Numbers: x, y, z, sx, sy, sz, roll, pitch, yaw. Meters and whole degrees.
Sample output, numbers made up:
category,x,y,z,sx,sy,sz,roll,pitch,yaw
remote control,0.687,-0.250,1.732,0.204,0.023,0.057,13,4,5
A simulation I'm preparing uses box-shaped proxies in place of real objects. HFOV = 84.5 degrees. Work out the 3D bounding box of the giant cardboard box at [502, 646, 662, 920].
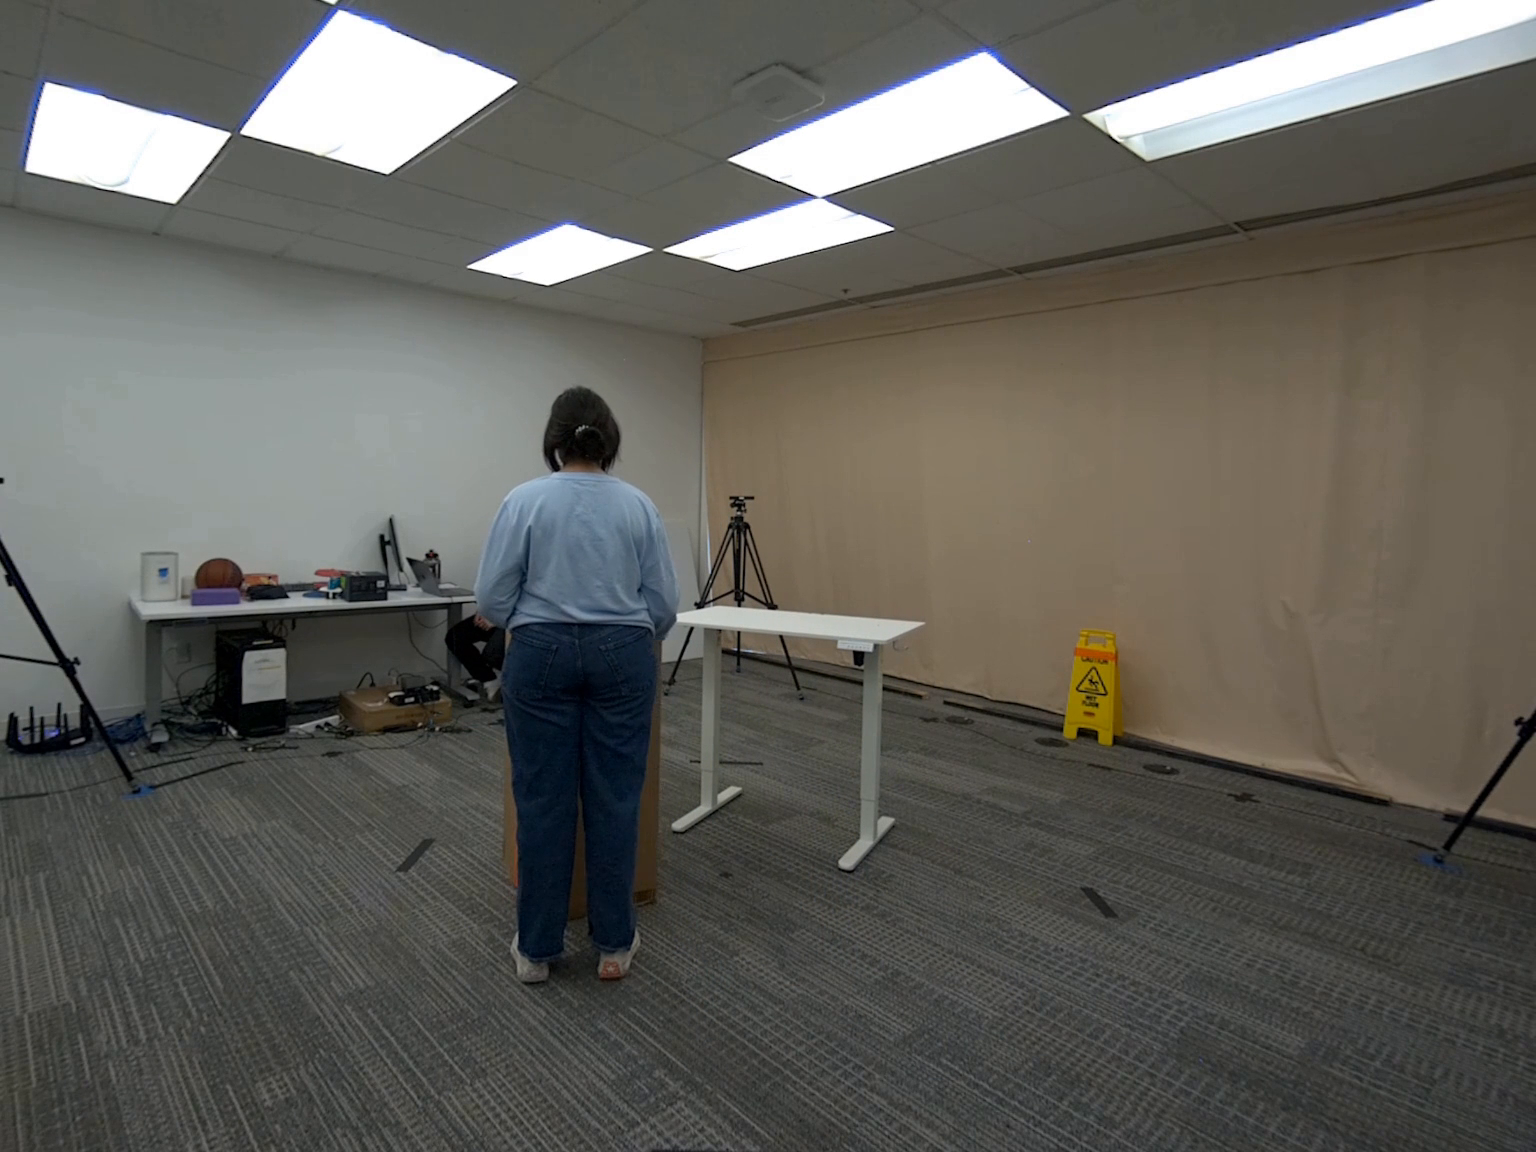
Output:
category,x,y,z,sx,sy,sz,roll,pitch,yaw
giant cardboard box,-0.693,0.595,3.028,0.418,1.023,0.590,0,3,-27
